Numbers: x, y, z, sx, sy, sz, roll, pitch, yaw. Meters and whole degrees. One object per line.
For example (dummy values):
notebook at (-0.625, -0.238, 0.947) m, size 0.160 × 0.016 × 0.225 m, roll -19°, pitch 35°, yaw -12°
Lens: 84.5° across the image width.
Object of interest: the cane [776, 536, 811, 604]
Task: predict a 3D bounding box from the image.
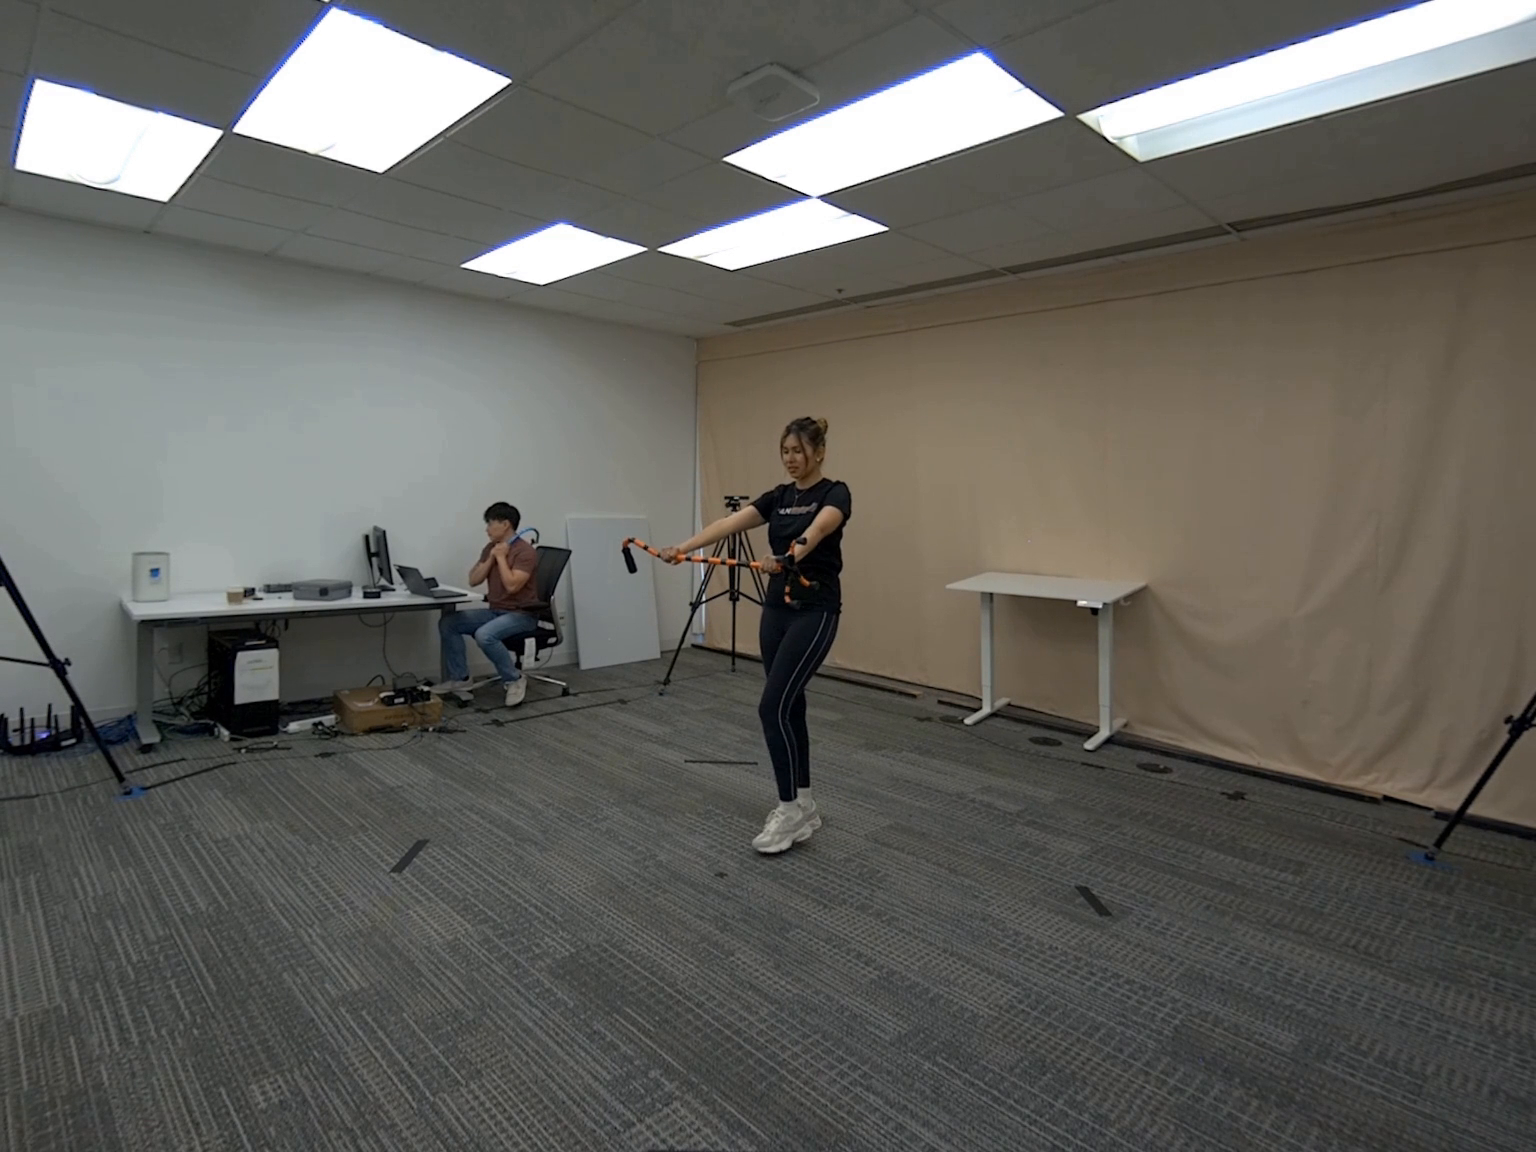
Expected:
cane at (-0.249, -0.054, 3.142) m, size 0.931 × 0.202 × 0.151 m, roll 7°, pitch 37°, yaw 40°
